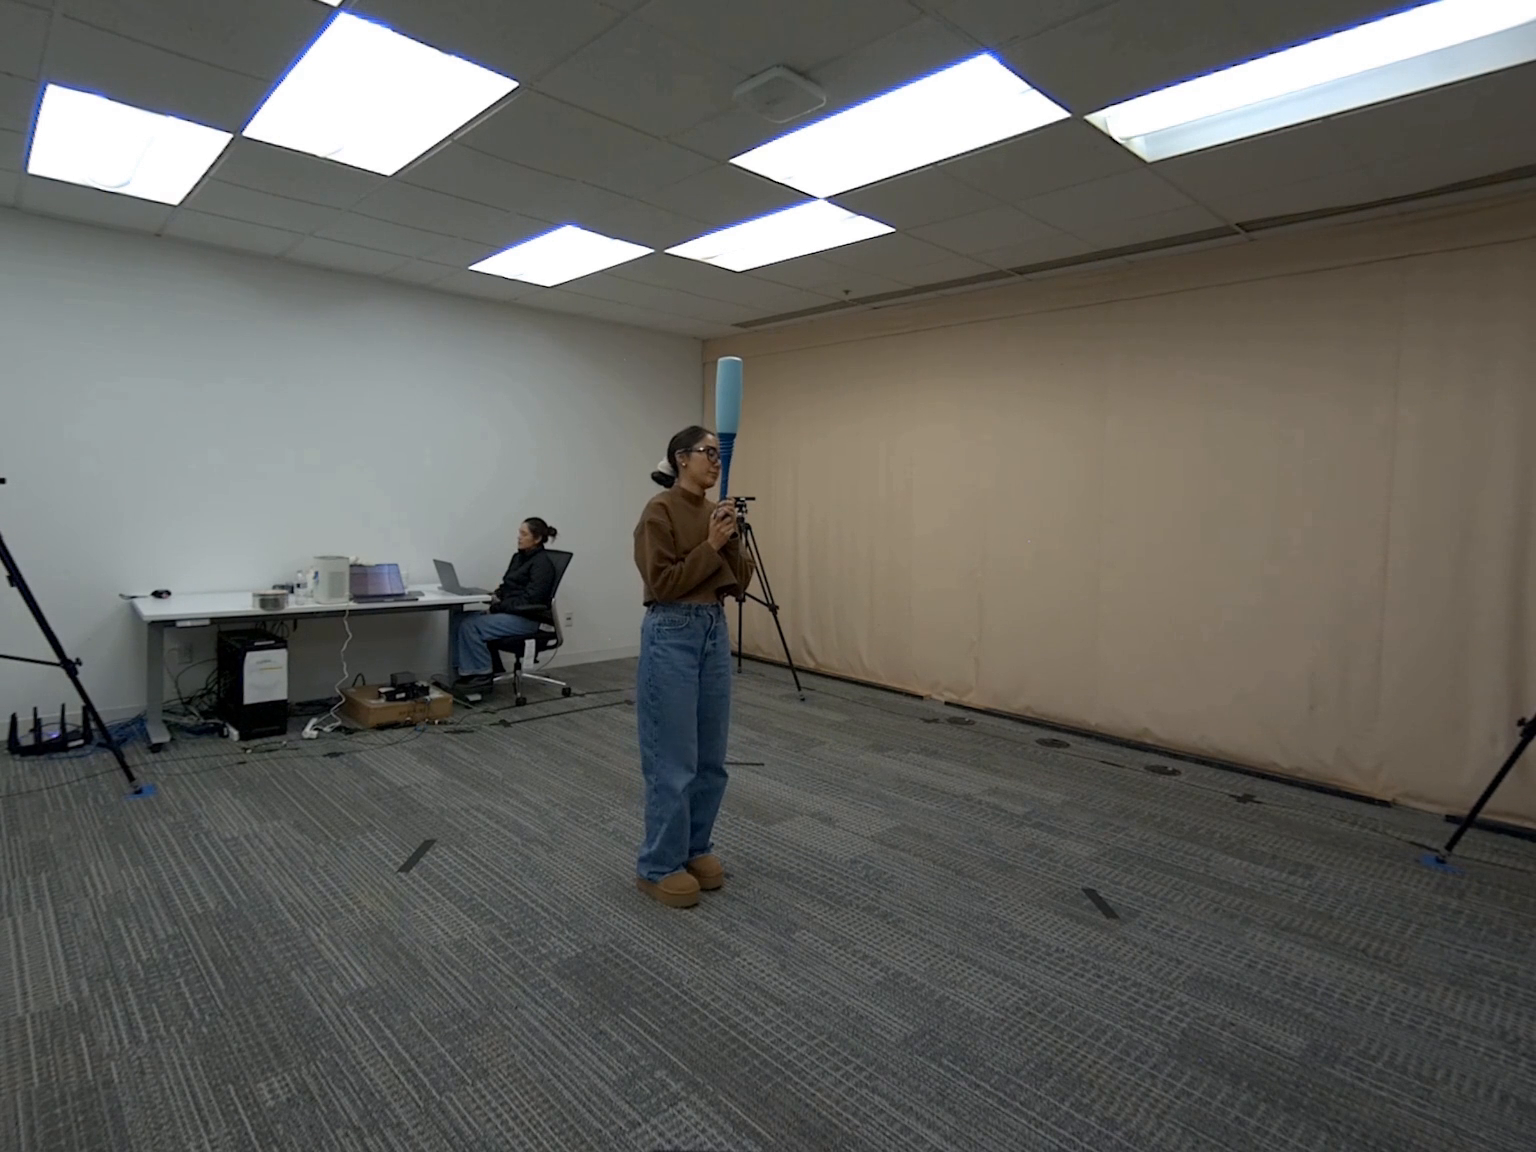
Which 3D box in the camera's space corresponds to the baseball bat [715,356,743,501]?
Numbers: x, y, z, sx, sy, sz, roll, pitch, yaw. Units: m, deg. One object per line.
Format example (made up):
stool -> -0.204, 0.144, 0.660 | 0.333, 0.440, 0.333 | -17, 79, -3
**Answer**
baseball bat -> -0.148, -0.467, 2.849 | 0.089, 0.540, 0.089 | 4, 7, -2
